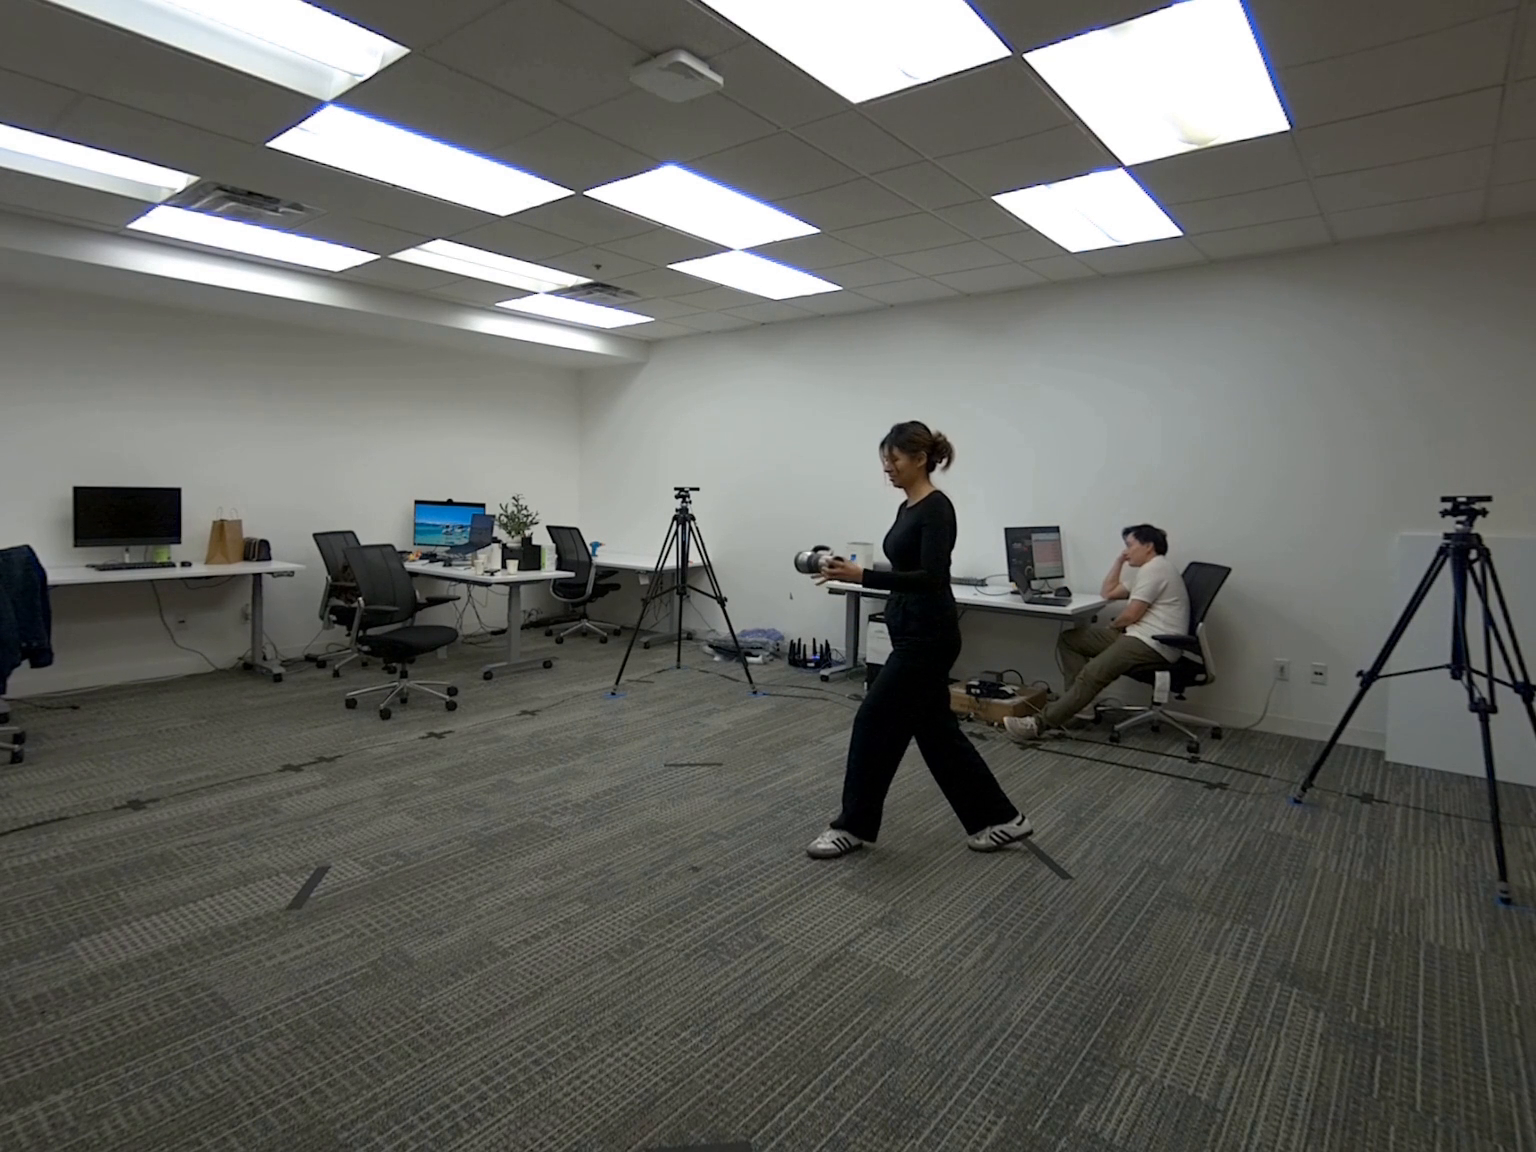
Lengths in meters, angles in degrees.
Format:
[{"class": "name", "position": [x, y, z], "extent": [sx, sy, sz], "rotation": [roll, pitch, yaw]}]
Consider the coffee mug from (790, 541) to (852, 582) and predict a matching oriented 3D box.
[{"class": "coffee mug", "position": [0.195, -0.058, 3.133], "extent": [0.085, 0.123, 0.209], "rotation": [24, -13, -34]}]
